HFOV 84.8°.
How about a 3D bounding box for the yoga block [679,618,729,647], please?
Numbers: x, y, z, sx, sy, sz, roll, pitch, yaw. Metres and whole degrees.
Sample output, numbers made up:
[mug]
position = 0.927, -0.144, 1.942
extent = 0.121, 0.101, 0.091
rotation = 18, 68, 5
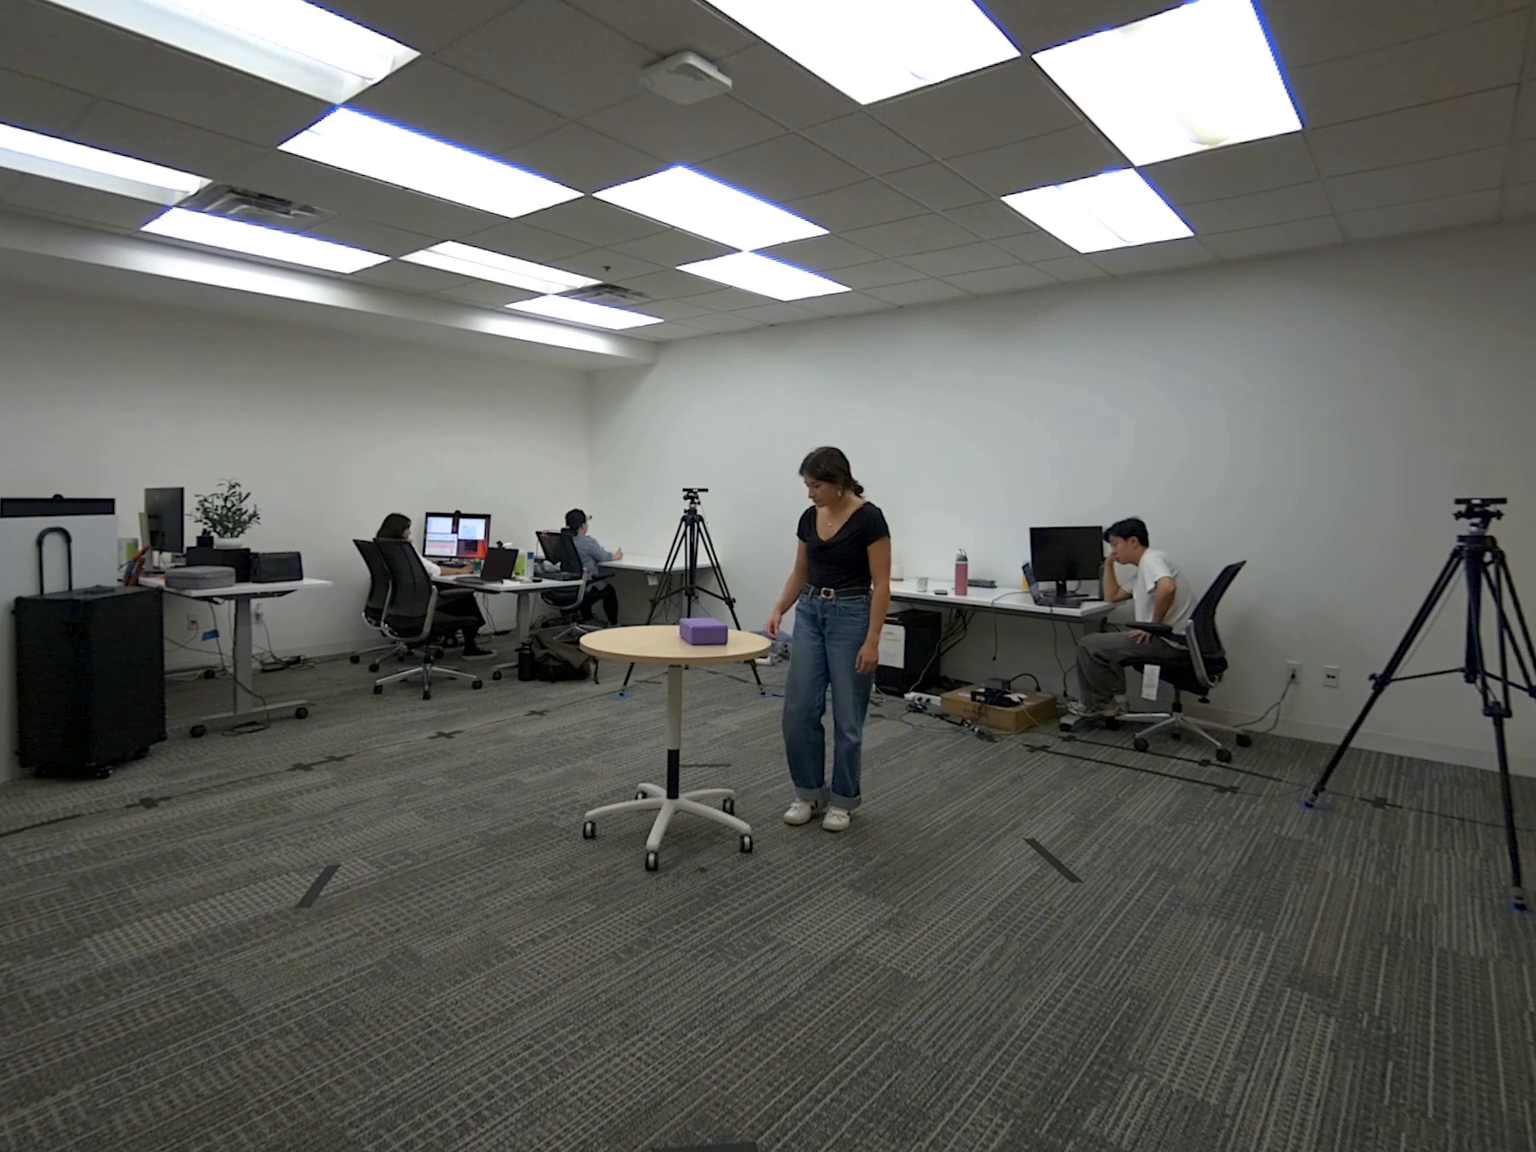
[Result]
[yoga block]
position = -0.262, 0.214, 3.413
extent = 0.147, 0.076, 0.234
rotation = -1, 5, -16
